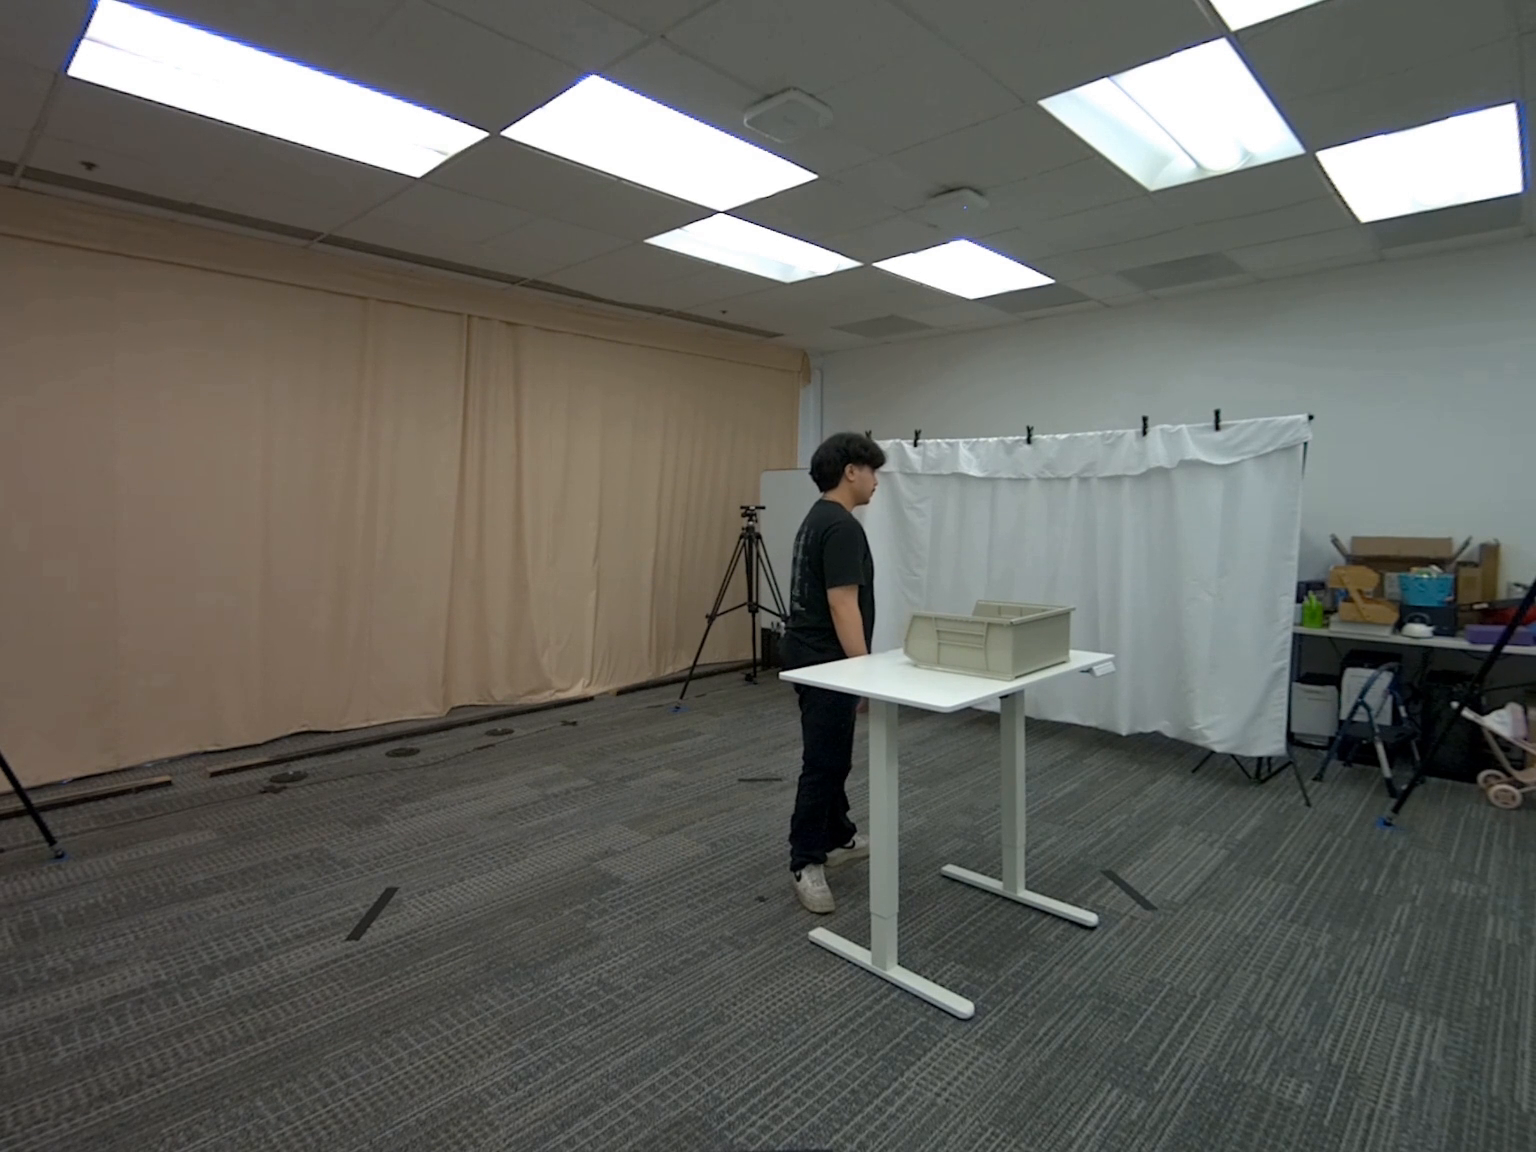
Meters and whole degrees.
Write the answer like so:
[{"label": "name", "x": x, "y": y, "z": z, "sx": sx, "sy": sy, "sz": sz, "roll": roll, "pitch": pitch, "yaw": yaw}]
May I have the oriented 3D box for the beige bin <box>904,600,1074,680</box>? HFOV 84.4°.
[{"label": "beige bin", "x": 0.709, "y": 0.196, "z": 2.686, "sx": 0.390, "sy": 0.188, "sz": 0.409, "roll": 4, "pitch": 7, "yaw": 44}]
